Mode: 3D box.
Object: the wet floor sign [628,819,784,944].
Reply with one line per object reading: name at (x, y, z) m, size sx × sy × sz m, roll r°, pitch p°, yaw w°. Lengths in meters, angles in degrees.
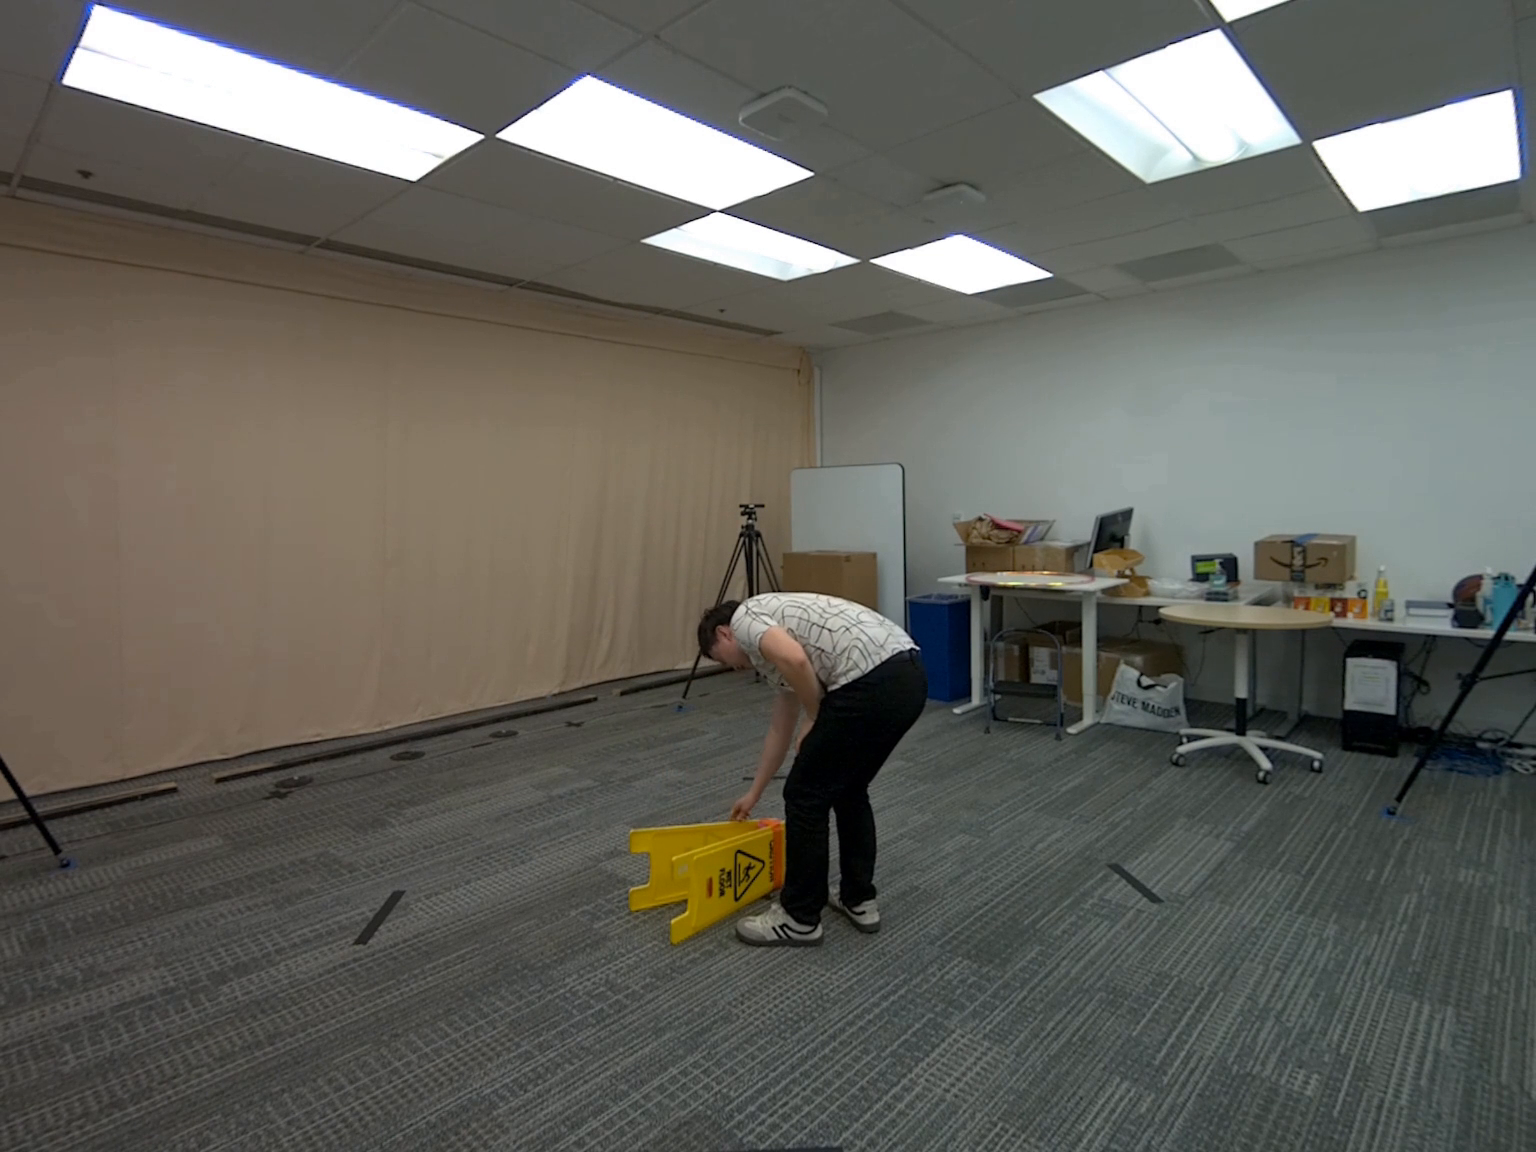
wet floor sign at (-0.135, 1.012, 2.963) m, size 0.627 × 0.282 × 0.299 m, roll -2°, pitch 4°, yaw -36°
